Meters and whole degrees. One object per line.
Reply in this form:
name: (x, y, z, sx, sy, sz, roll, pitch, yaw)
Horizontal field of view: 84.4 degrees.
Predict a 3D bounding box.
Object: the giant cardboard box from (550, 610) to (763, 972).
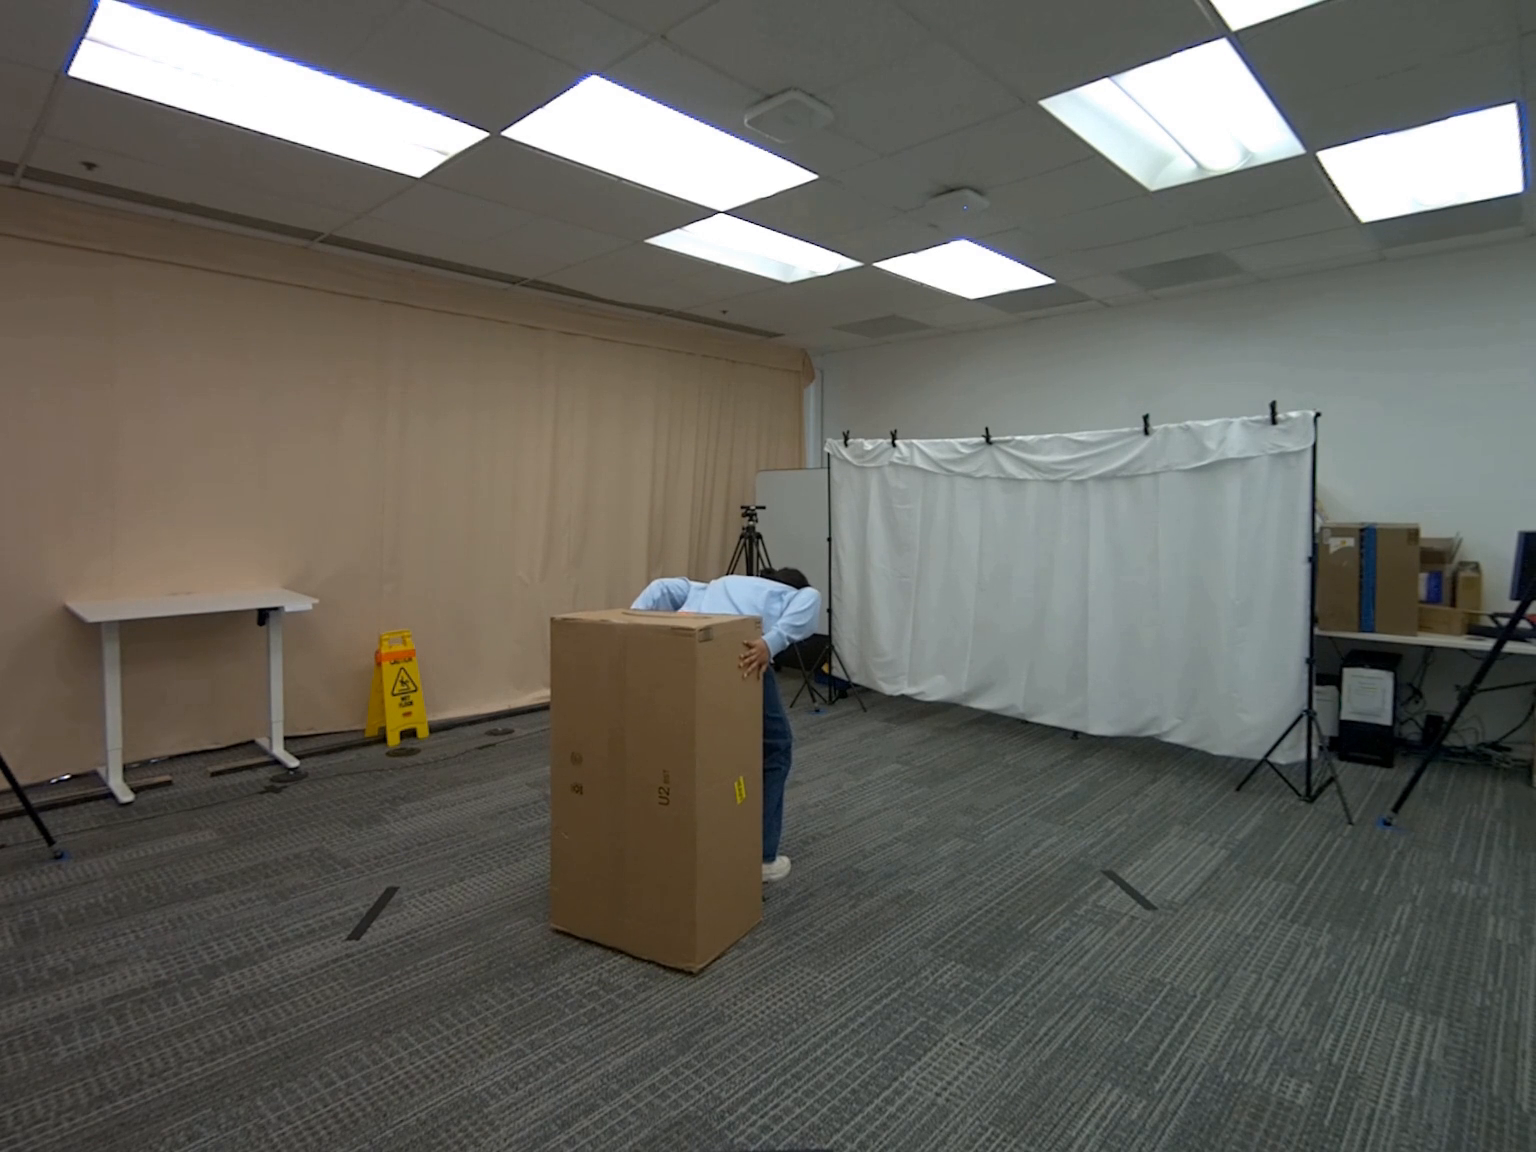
giant cardboard box: (-0.373, 0.651, 2.793, 0.594, 1.025, 0.414, 1, 1, 30)
